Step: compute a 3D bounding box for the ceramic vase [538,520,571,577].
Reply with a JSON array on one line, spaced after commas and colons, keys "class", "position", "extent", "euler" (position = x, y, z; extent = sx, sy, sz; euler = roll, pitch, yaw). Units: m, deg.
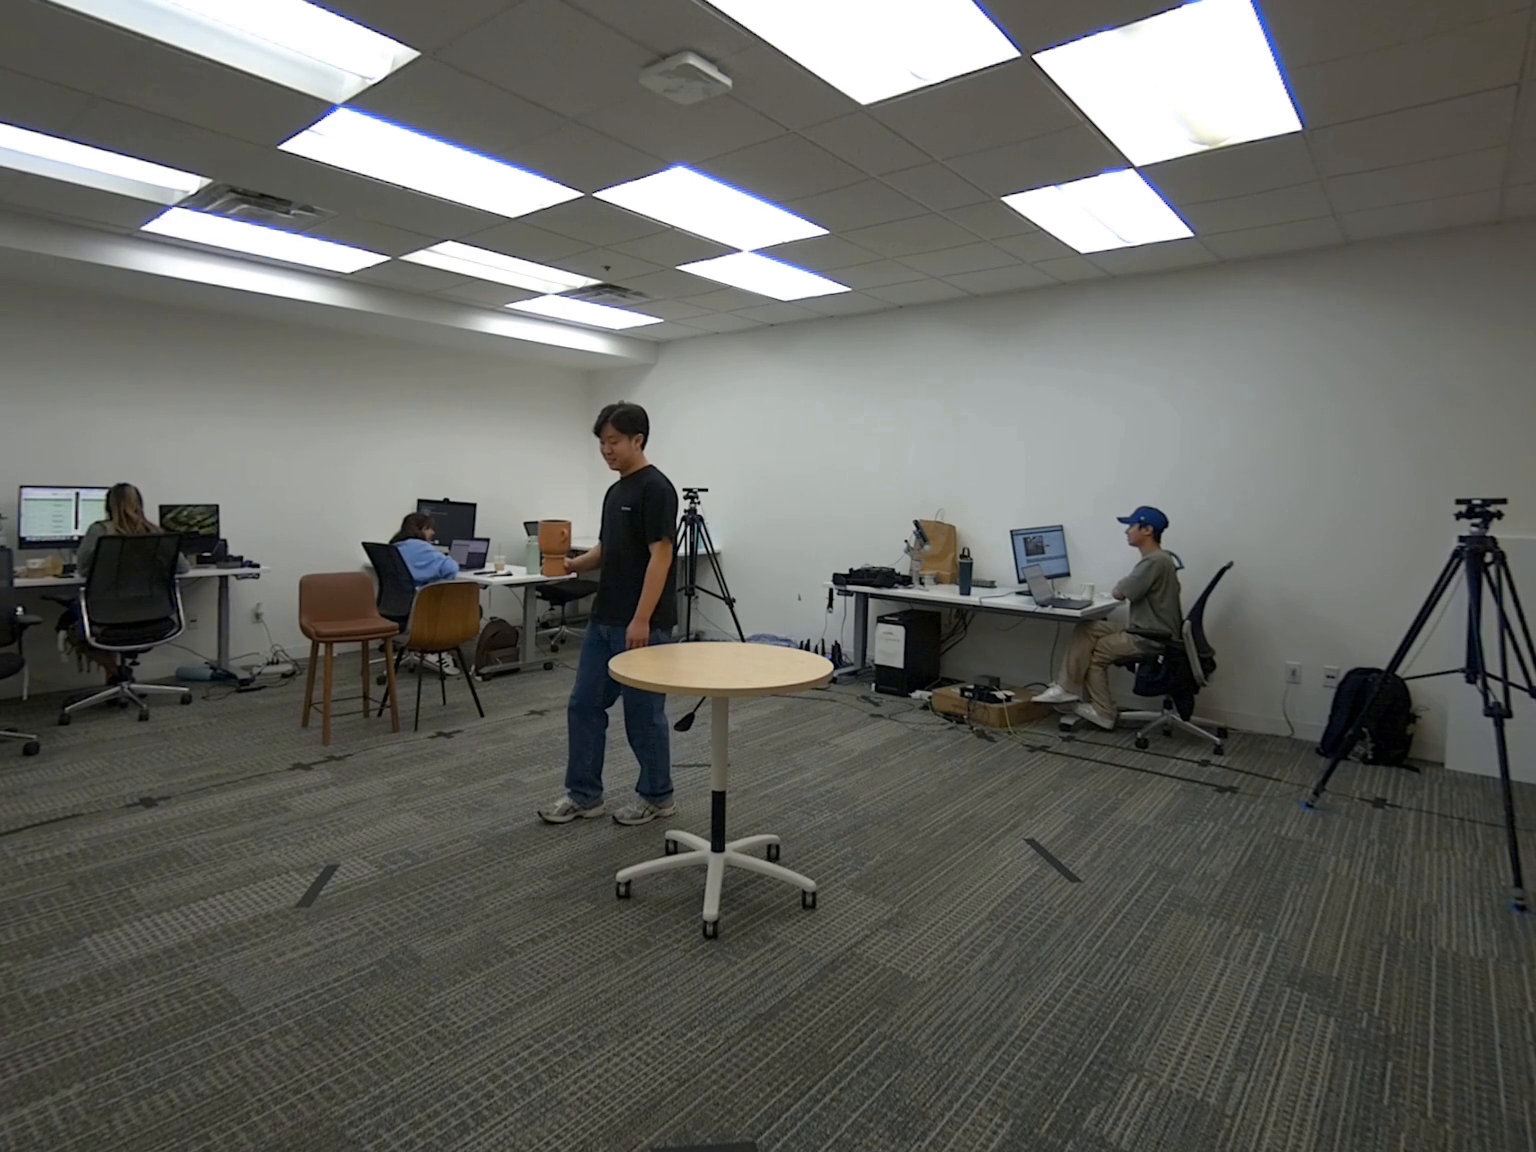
[{"class": "ceramic vase", "position": [-0.877, -0.117, 3.459], "extent": [0.134, 0.219, 0.160], "euler": [2, 6, -3]}]
